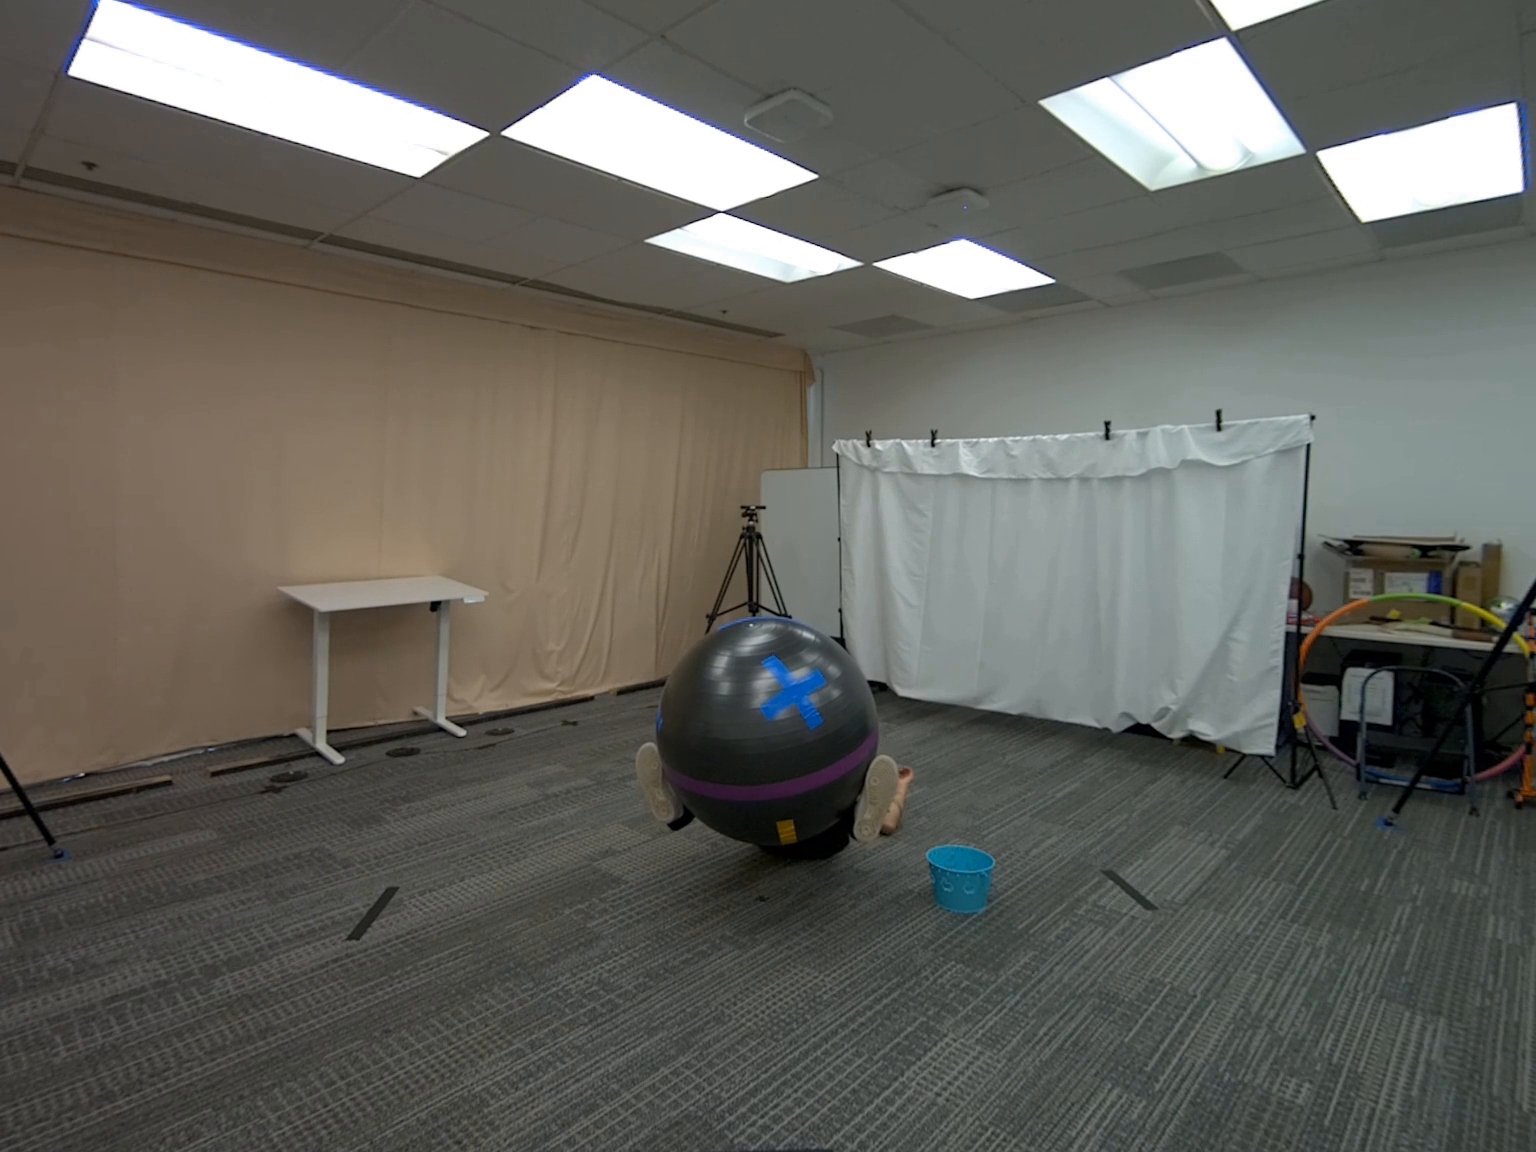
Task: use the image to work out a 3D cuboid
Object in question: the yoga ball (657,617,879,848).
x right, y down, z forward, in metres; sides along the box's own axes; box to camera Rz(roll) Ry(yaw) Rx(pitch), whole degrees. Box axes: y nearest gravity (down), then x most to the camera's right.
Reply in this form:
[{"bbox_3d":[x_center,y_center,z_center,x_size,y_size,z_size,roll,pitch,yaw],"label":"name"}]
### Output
[{"bbox_3d":[-0.001,0.525,2.889,0.757,0.756,0.760,0,4,-2],"label":"yoga ball"}]
